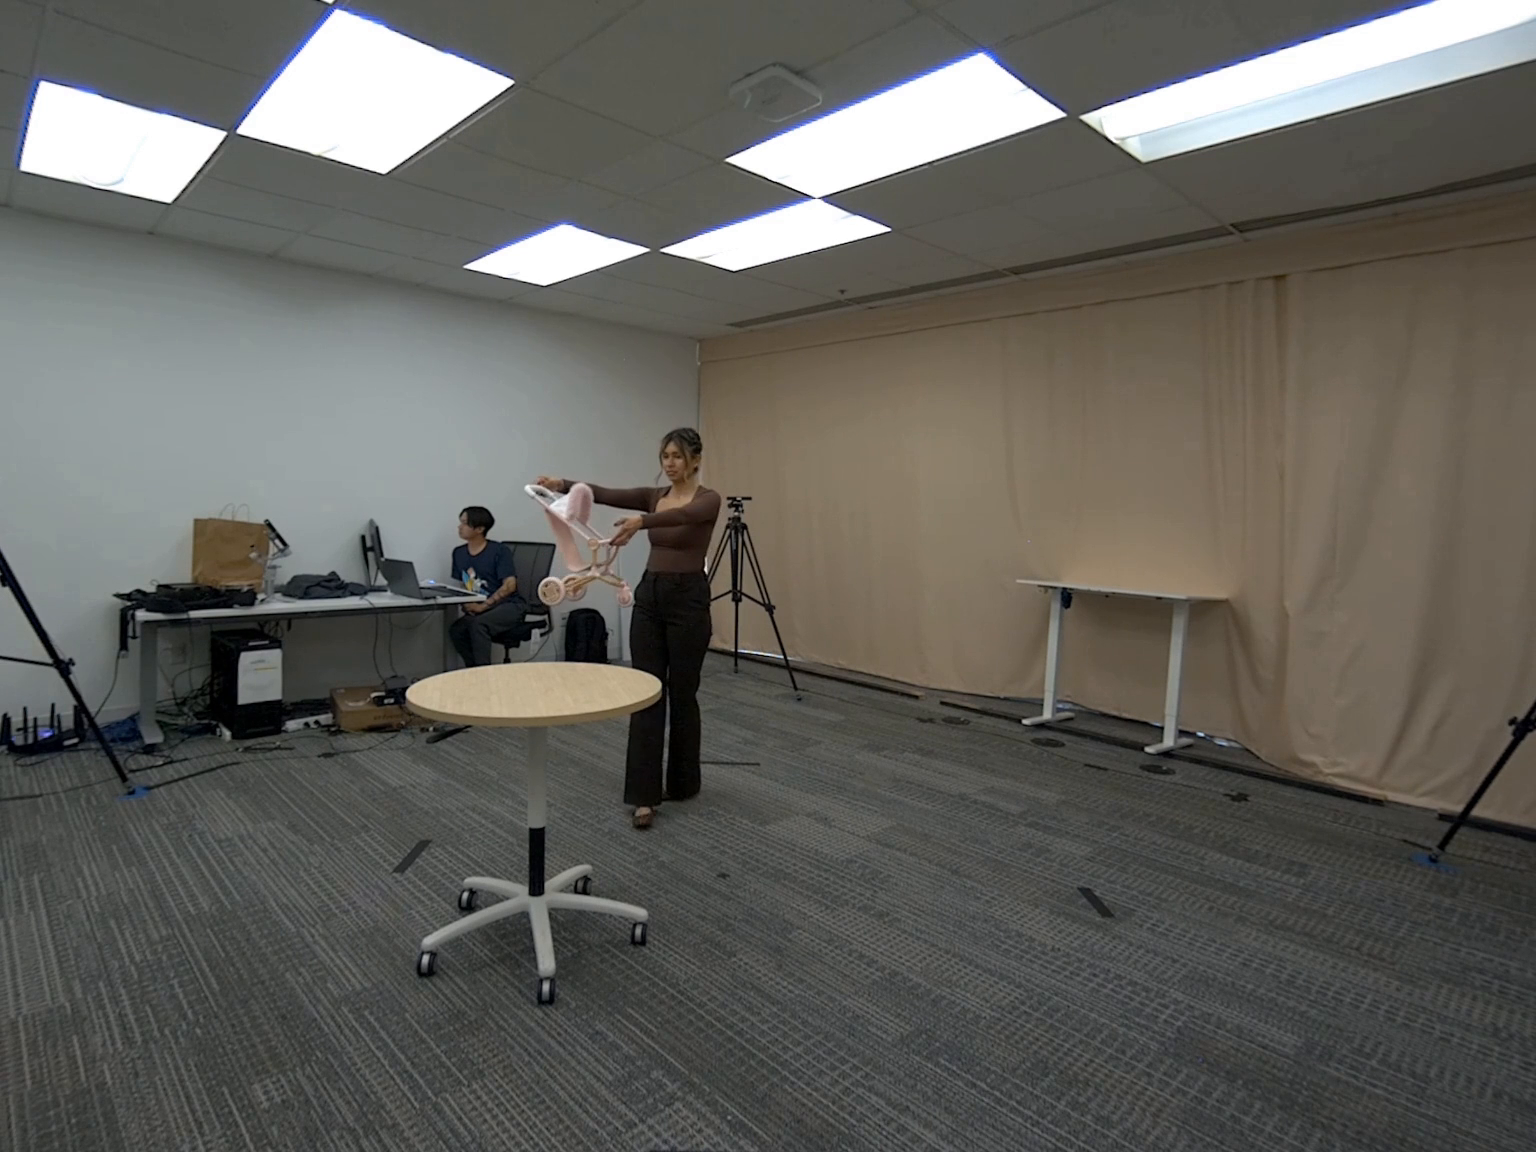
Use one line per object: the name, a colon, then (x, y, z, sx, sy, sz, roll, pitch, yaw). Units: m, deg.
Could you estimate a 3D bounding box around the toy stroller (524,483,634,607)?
toy stroller: (-0.738, -0.121, 3.278, 0.344, 0.535, 0.279, -10, 0, 11)
